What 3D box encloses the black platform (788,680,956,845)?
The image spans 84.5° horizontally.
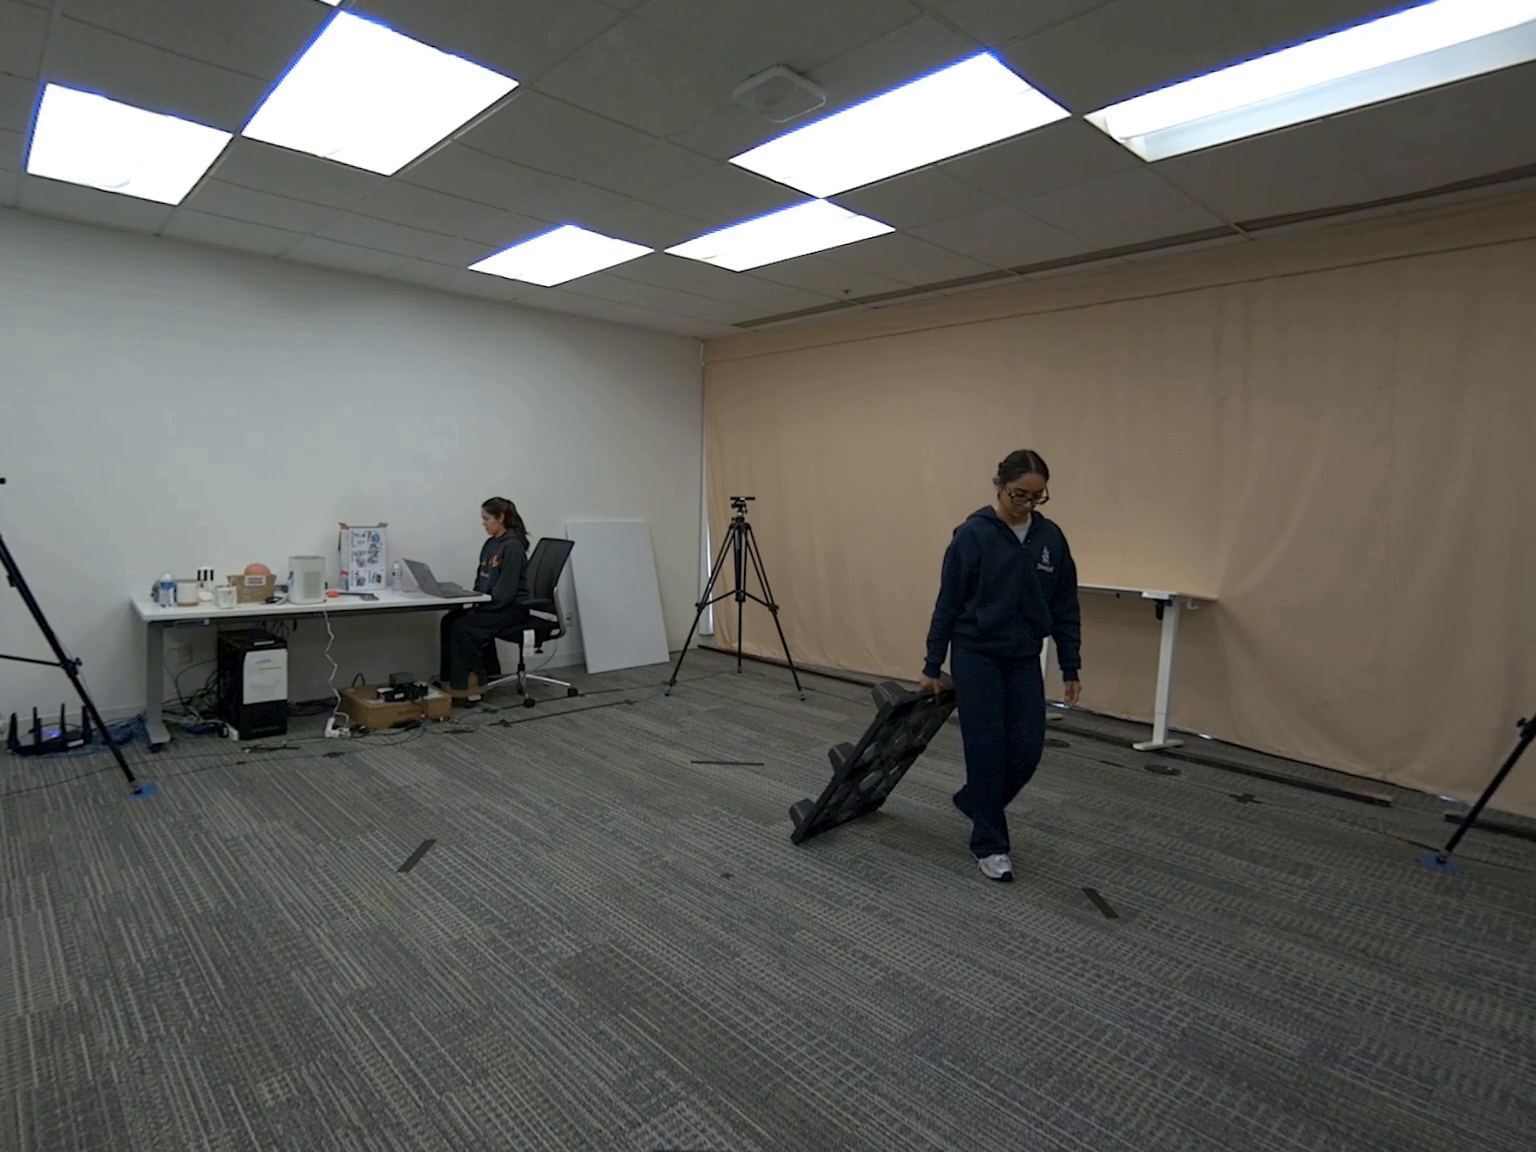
[{"bbox_3d":[0.429,0.724,3.462,0.591,0.801,0.147,-2,40,-49],"label":"black platform"}]
